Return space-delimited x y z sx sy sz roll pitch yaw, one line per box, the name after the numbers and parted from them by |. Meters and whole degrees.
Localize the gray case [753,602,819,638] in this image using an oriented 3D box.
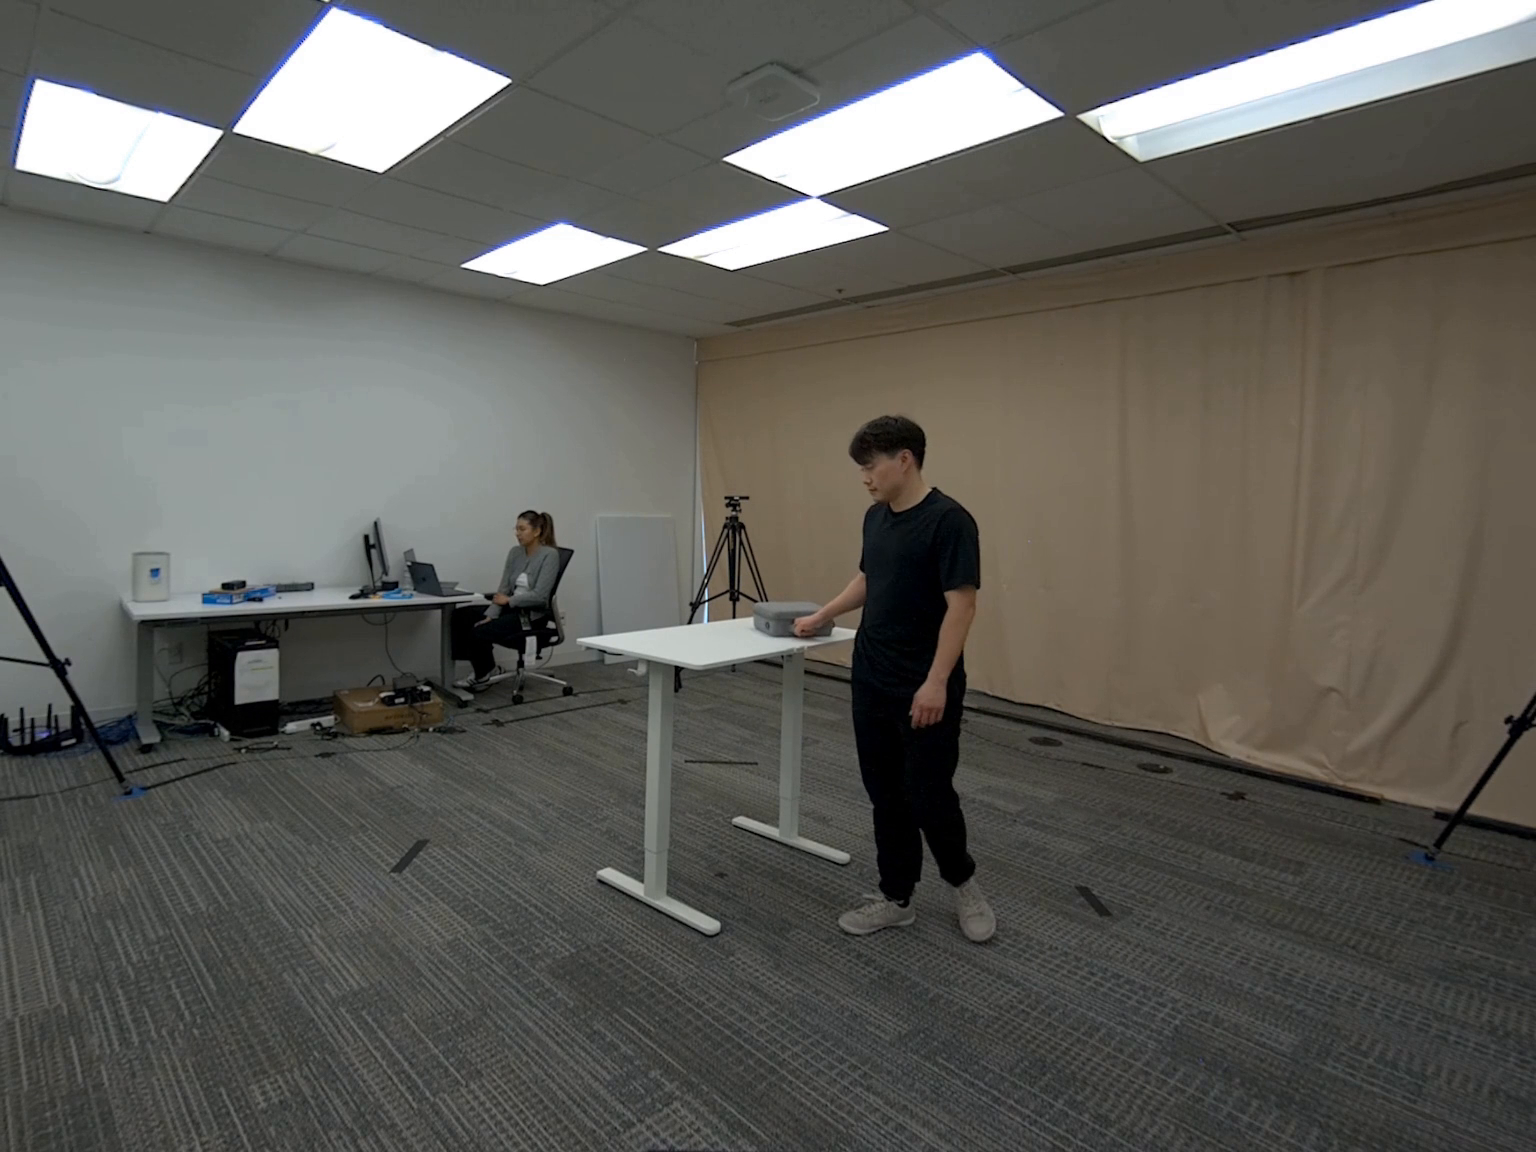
0.090 0.167 3.237 0.253 0.104 0.265 1 6 -17 | gray case
